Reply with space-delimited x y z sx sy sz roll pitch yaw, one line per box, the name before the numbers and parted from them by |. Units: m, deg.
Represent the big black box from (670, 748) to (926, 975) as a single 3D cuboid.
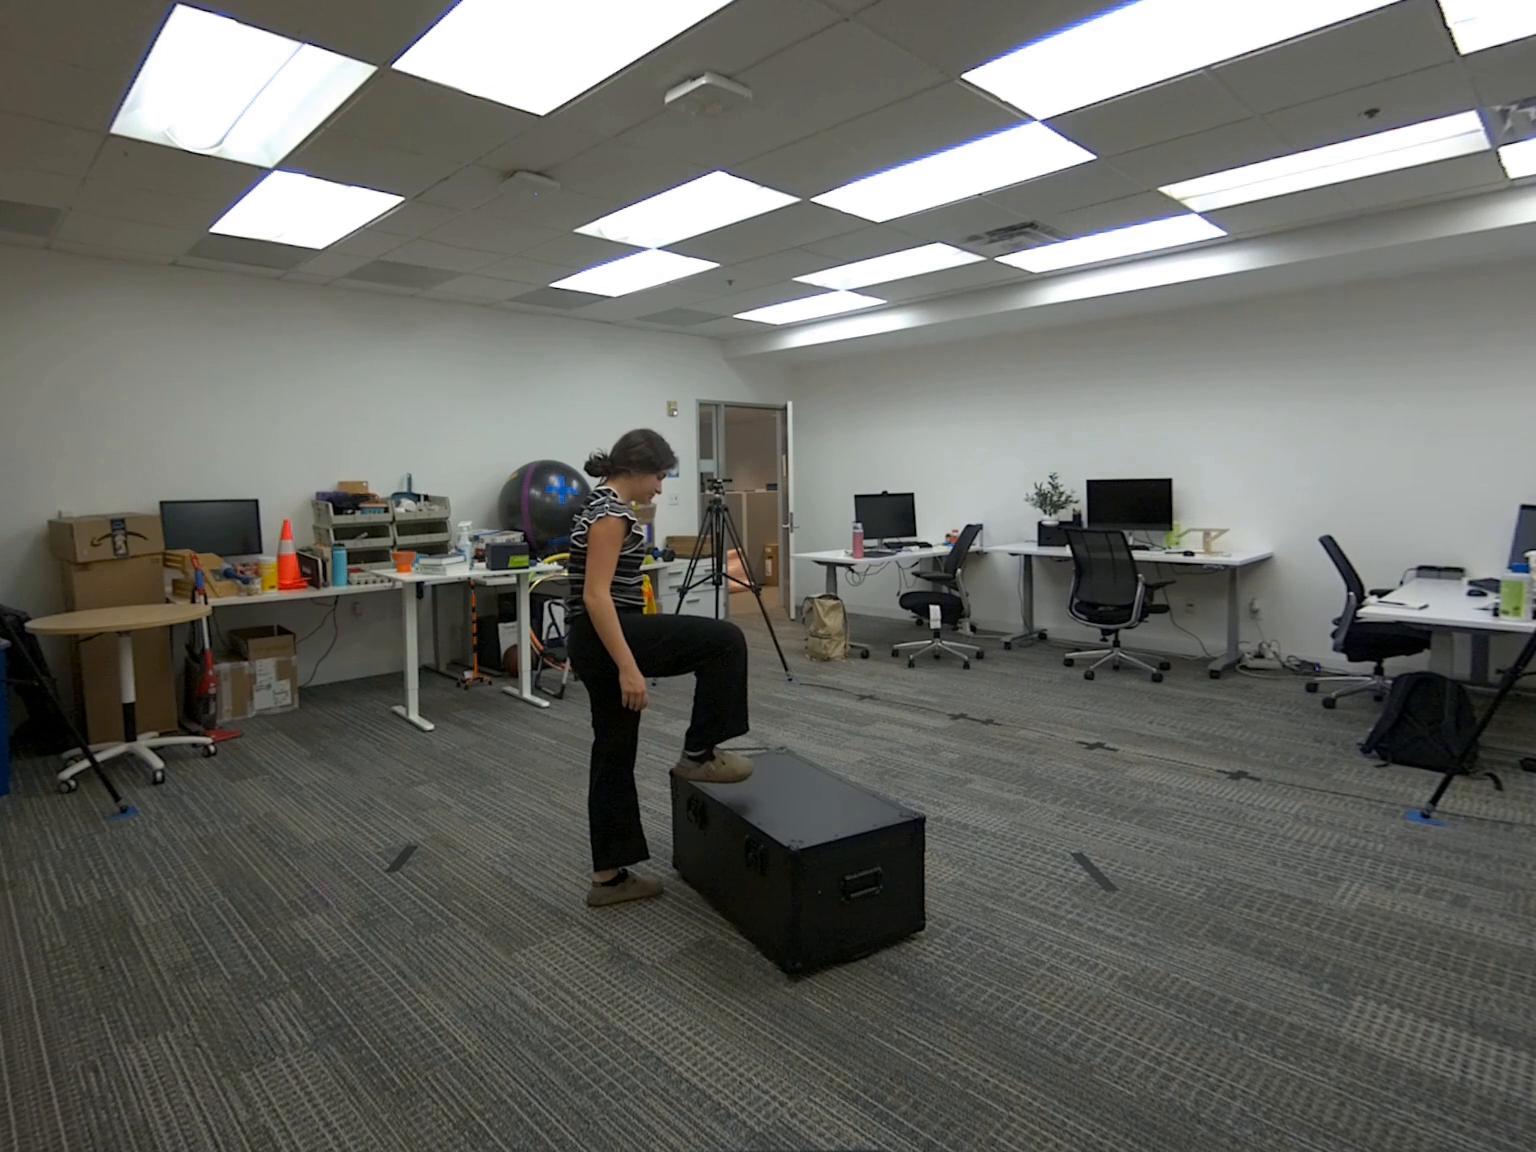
big black box | 0.053 0.884 2.829 0.509 0.394 0.886 -4 7 -30
